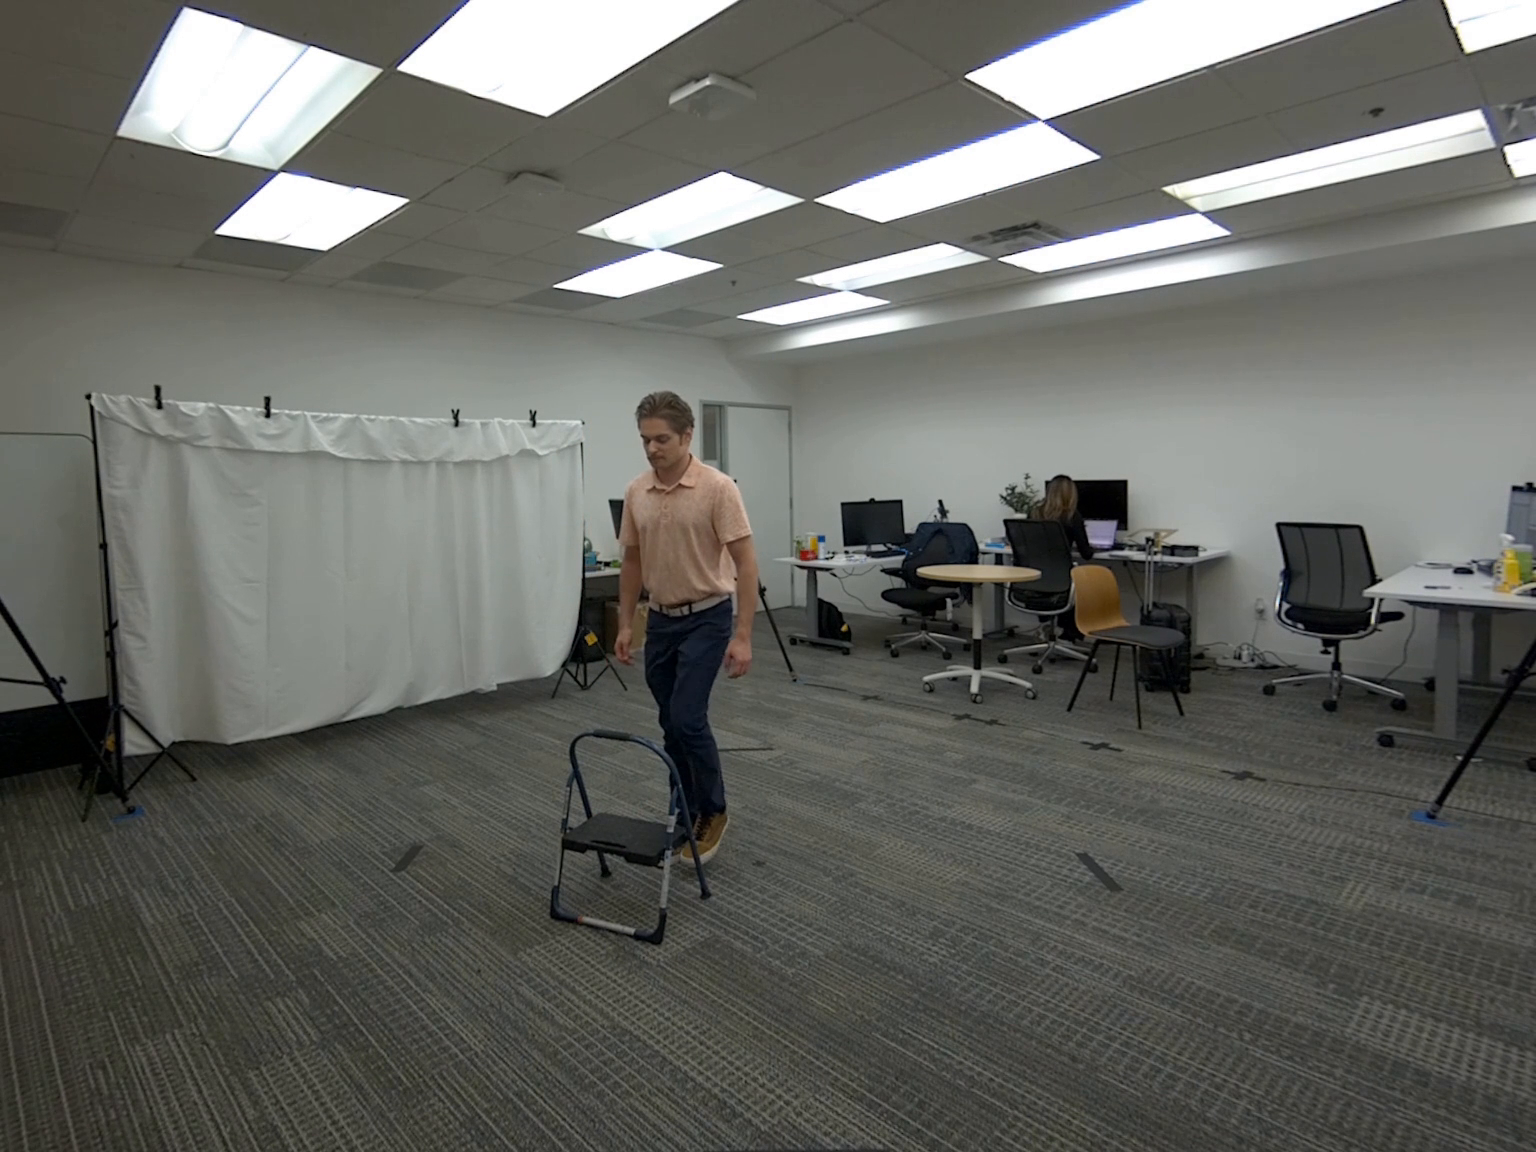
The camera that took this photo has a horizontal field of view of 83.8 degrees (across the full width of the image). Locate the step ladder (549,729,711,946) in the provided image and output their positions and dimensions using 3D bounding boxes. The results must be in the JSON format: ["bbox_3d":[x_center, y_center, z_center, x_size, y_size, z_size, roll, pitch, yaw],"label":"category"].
[{"bbox_3d":[-0.458,0.790,2.793,0.440,0.604,0.343,0,5,24],"label":"step ladder"}]
